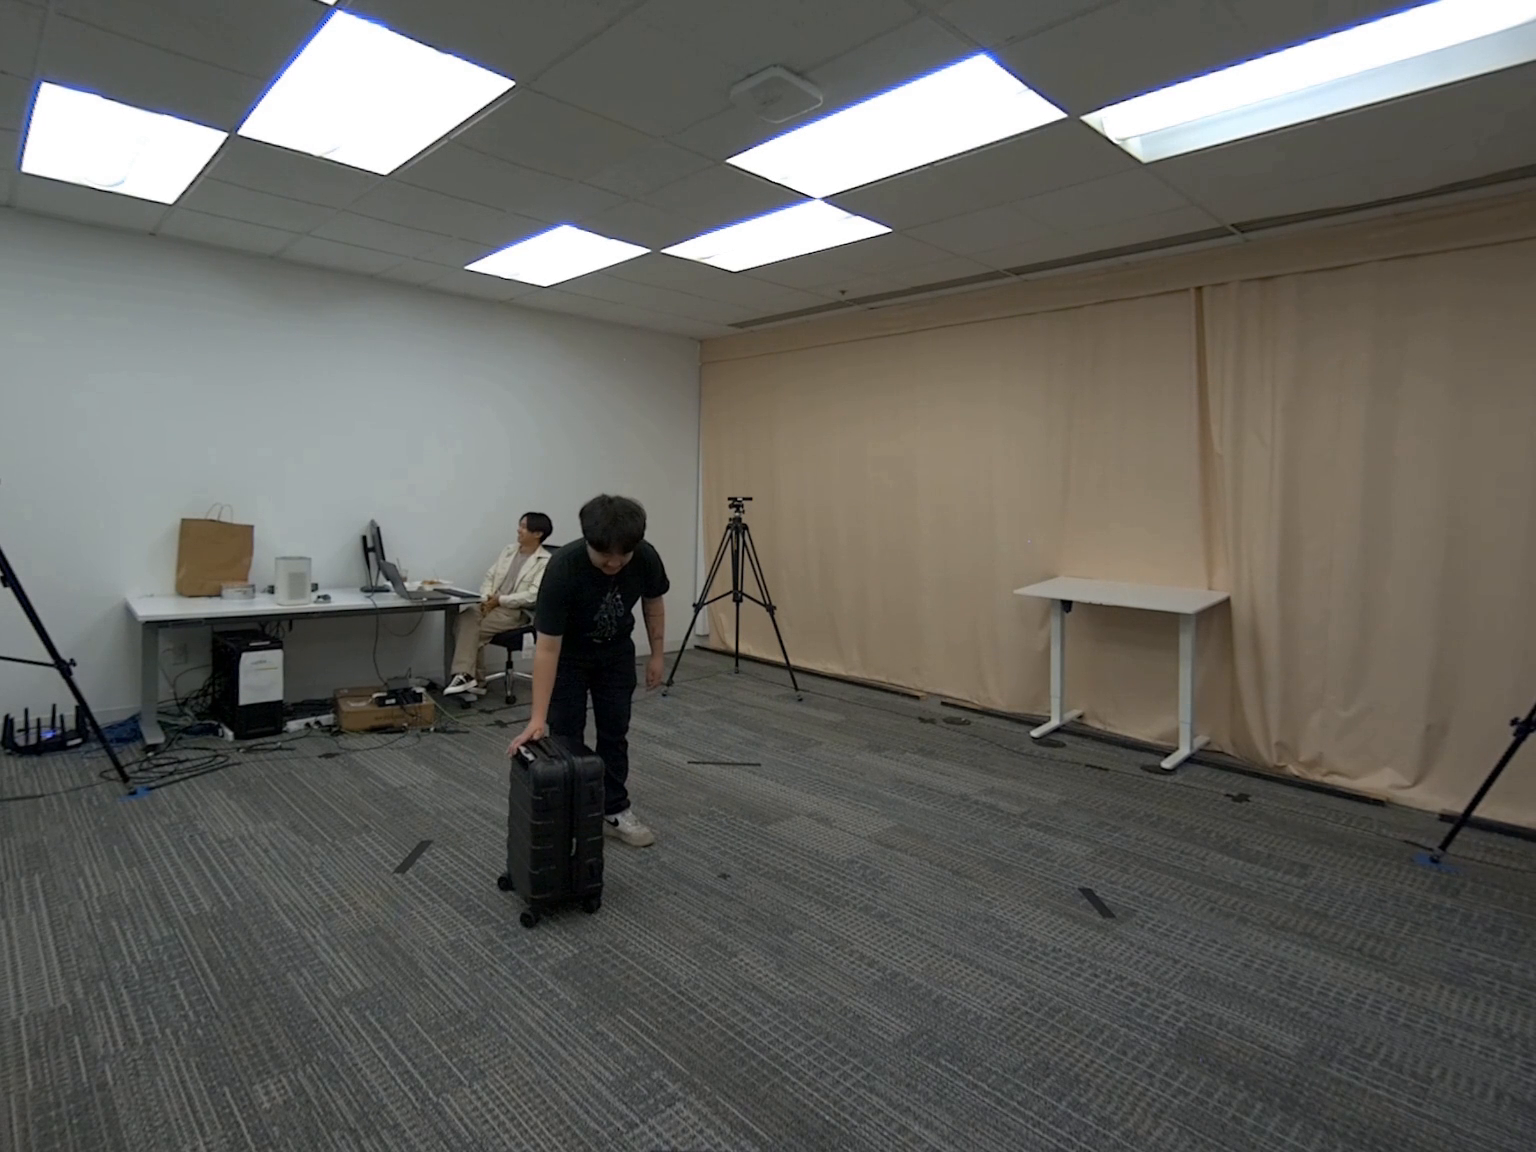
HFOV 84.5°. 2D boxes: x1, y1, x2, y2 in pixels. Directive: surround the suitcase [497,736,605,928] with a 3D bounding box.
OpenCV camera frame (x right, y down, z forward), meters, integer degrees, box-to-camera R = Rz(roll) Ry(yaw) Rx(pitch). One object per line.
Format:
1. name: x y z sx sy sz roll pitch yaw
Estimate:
1. suitcase: -0.737 0.842 2.874 0.243 0.548 0.384 1 4 -31
